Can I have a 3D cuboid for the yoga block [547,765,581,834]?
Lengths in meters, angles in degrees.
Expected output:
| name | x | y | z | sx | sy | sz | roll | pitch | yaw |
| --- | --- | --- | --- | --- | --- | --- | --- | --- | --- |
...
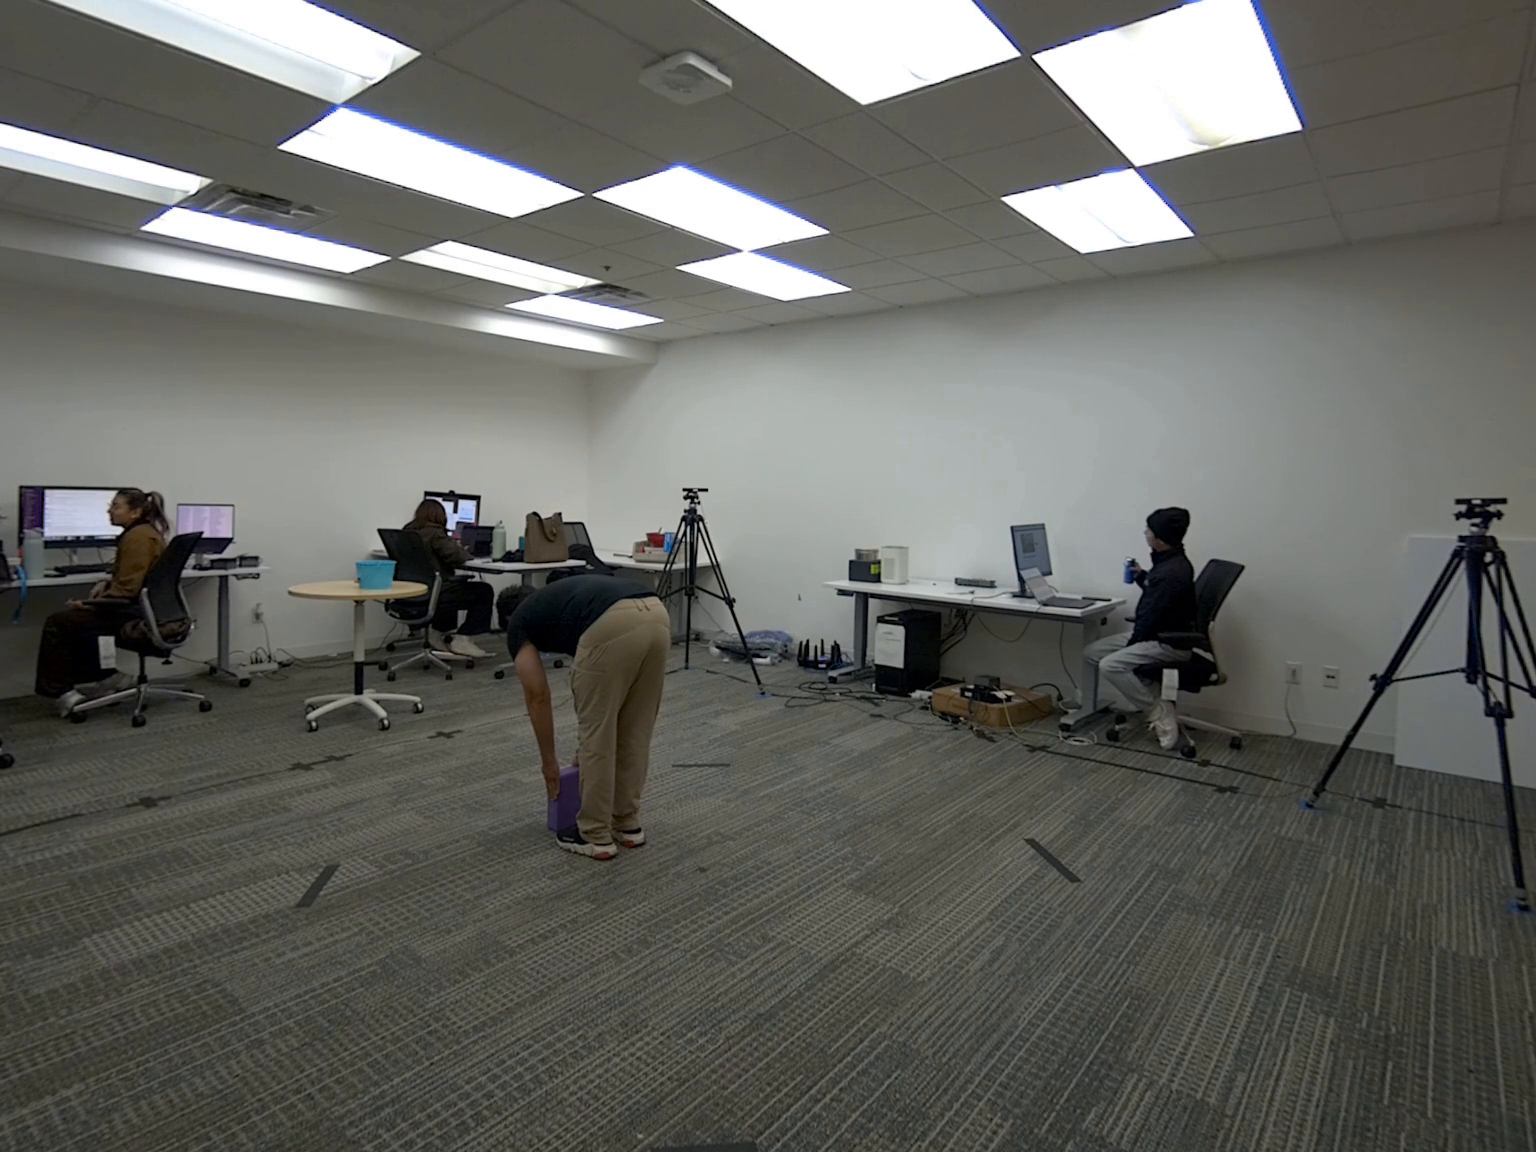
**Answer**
| name | x | y | z | sx | sy | sz | roll | pitch | yaw |
| --- | --- | --- | --- | --- | --- | --- | --- | --- | --- |
| yoga block | -0.840 | 0.912 | 3.487 | 0.079 | 0.229 | 0.144 | 2 | 3 | 40 |
